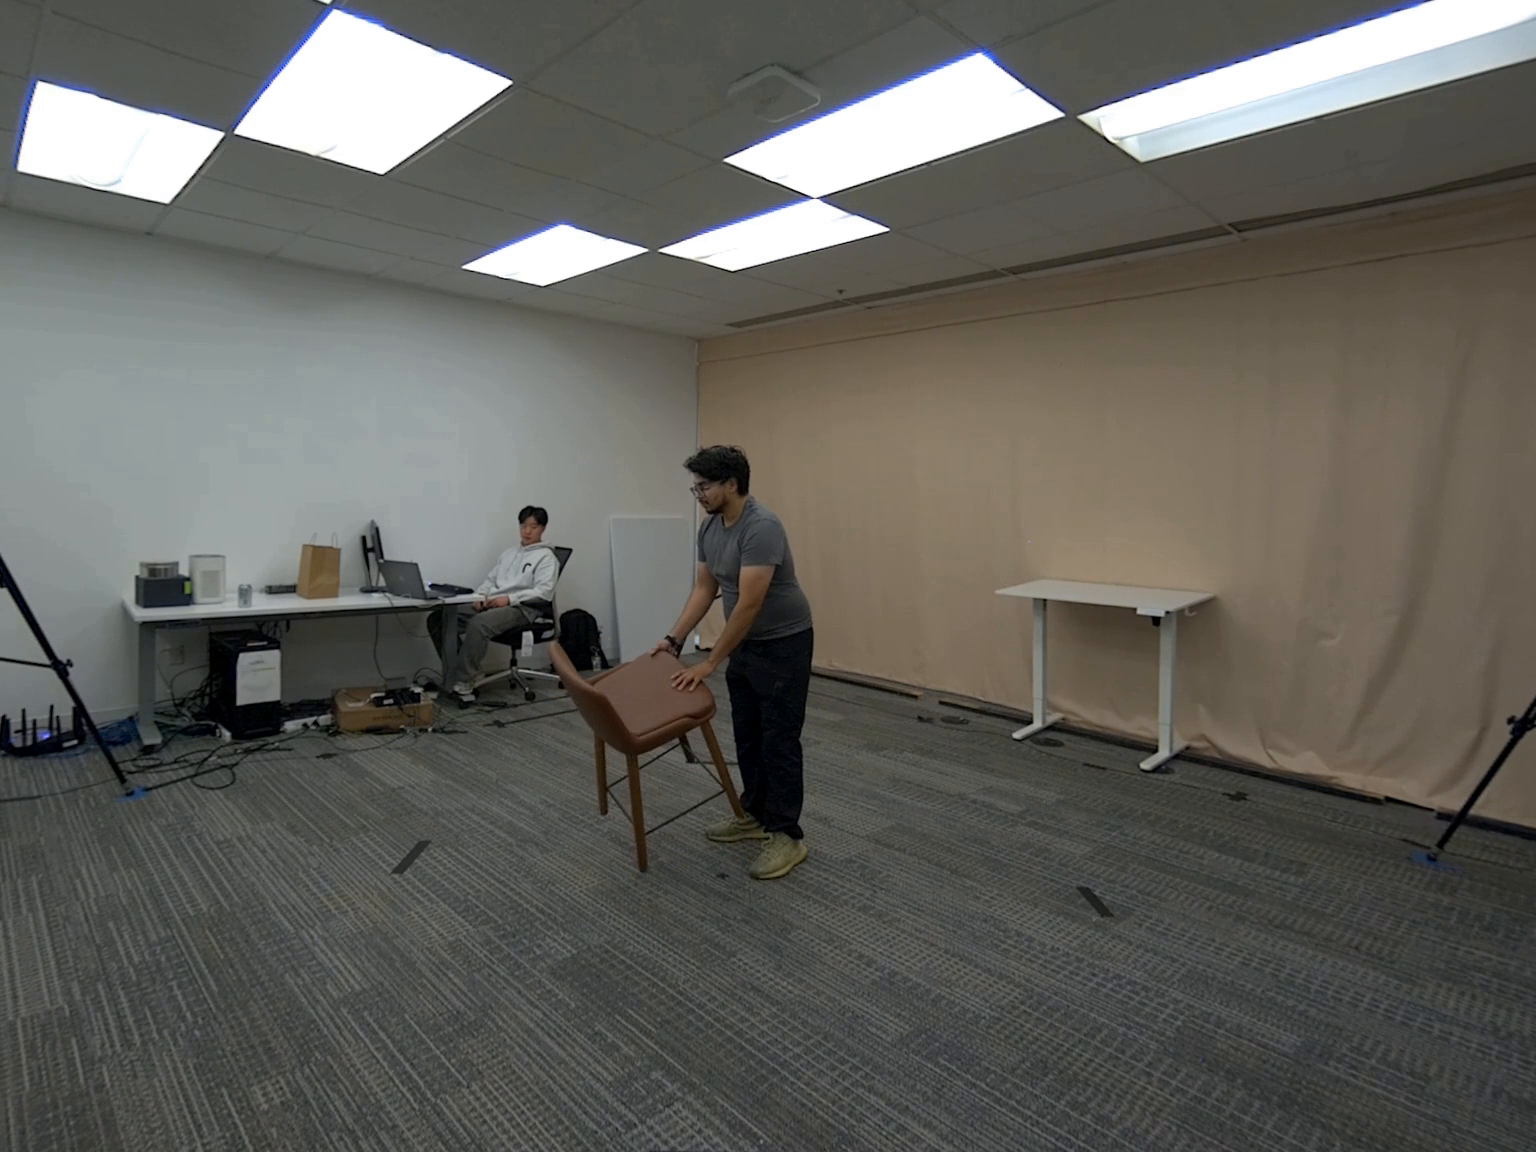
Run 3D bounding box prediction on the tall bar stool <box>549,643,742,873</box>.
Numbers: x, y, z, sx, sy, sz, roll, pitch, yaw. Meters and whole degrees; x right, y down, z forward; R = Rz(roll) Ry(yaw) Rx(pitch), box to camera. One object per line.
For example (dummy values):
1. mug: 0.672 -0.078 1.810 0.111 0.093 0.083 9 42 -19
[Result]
1. tall bar stool: -0.456 0.584 3.132 0.463 0.870 0.471 -26 34 -25
